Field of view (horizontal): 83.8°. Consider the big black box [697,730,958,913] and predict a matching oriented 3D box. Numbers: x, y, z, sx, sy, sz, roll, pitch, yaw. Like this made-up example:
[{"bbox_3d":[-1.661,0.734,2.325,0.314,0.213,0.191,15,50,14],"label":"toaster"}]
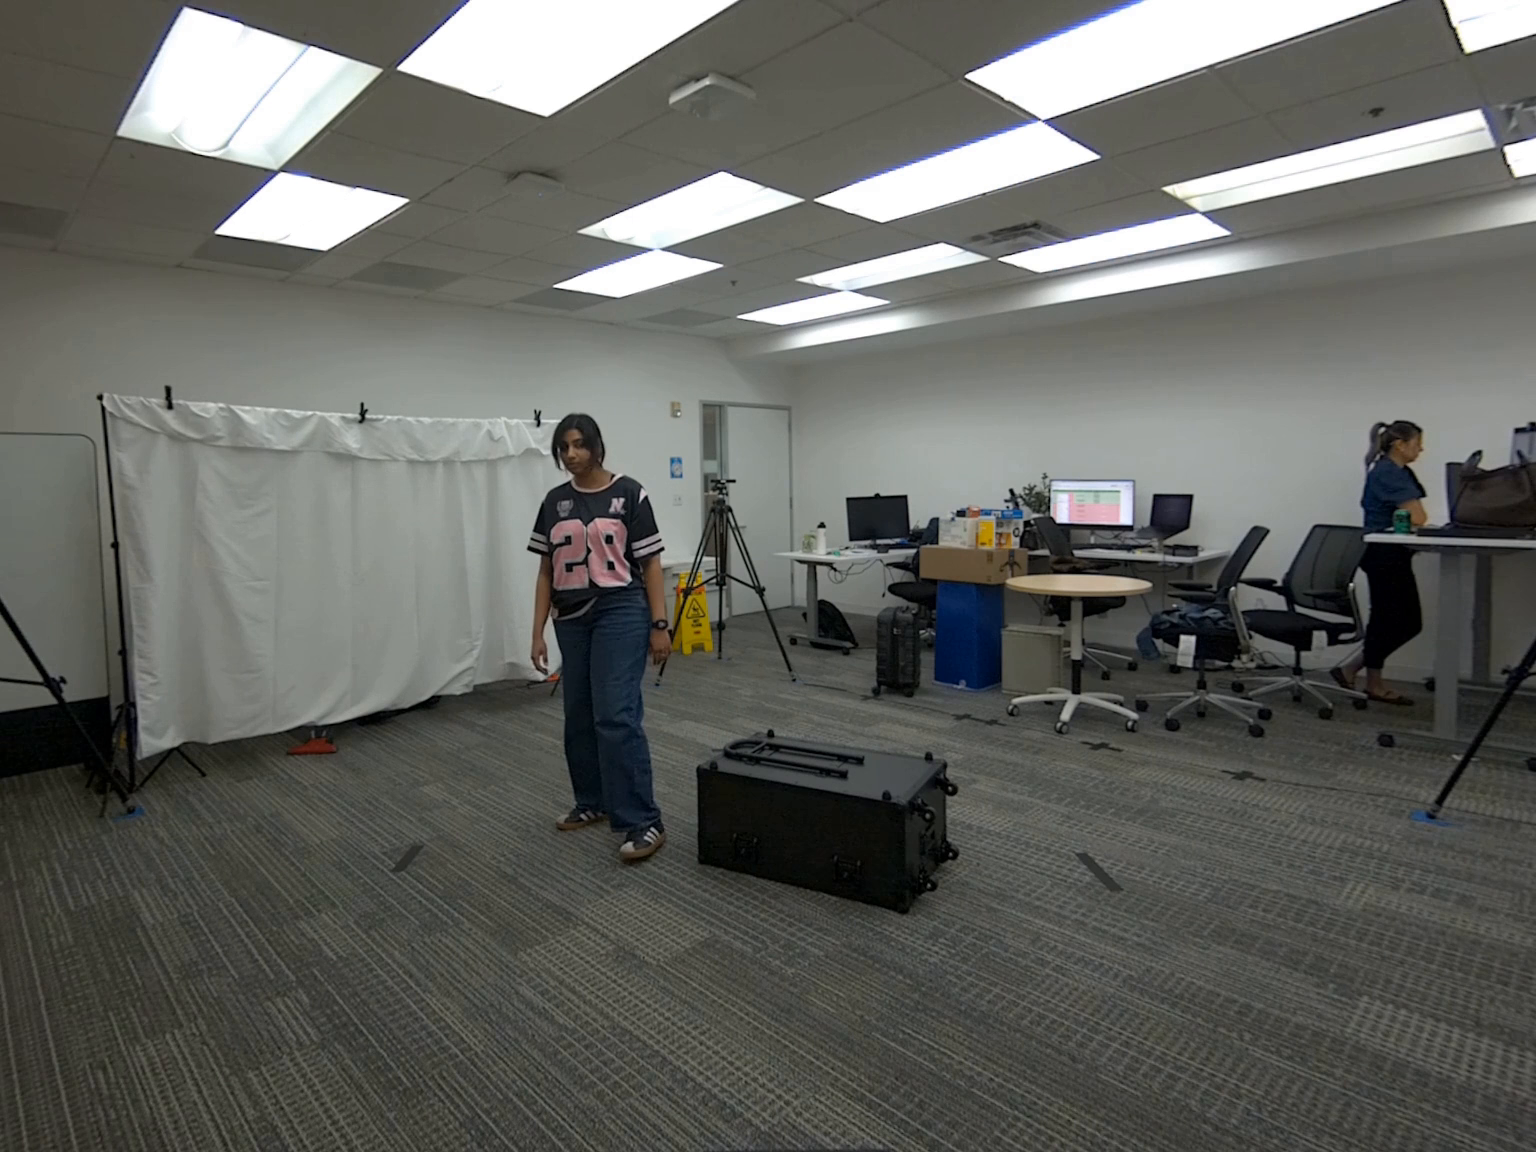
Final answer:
[{"bbox_3d":[0.236,0.856,3.104,0.891,0.384,0.512,2,5,29],"label":"big black box"}]
